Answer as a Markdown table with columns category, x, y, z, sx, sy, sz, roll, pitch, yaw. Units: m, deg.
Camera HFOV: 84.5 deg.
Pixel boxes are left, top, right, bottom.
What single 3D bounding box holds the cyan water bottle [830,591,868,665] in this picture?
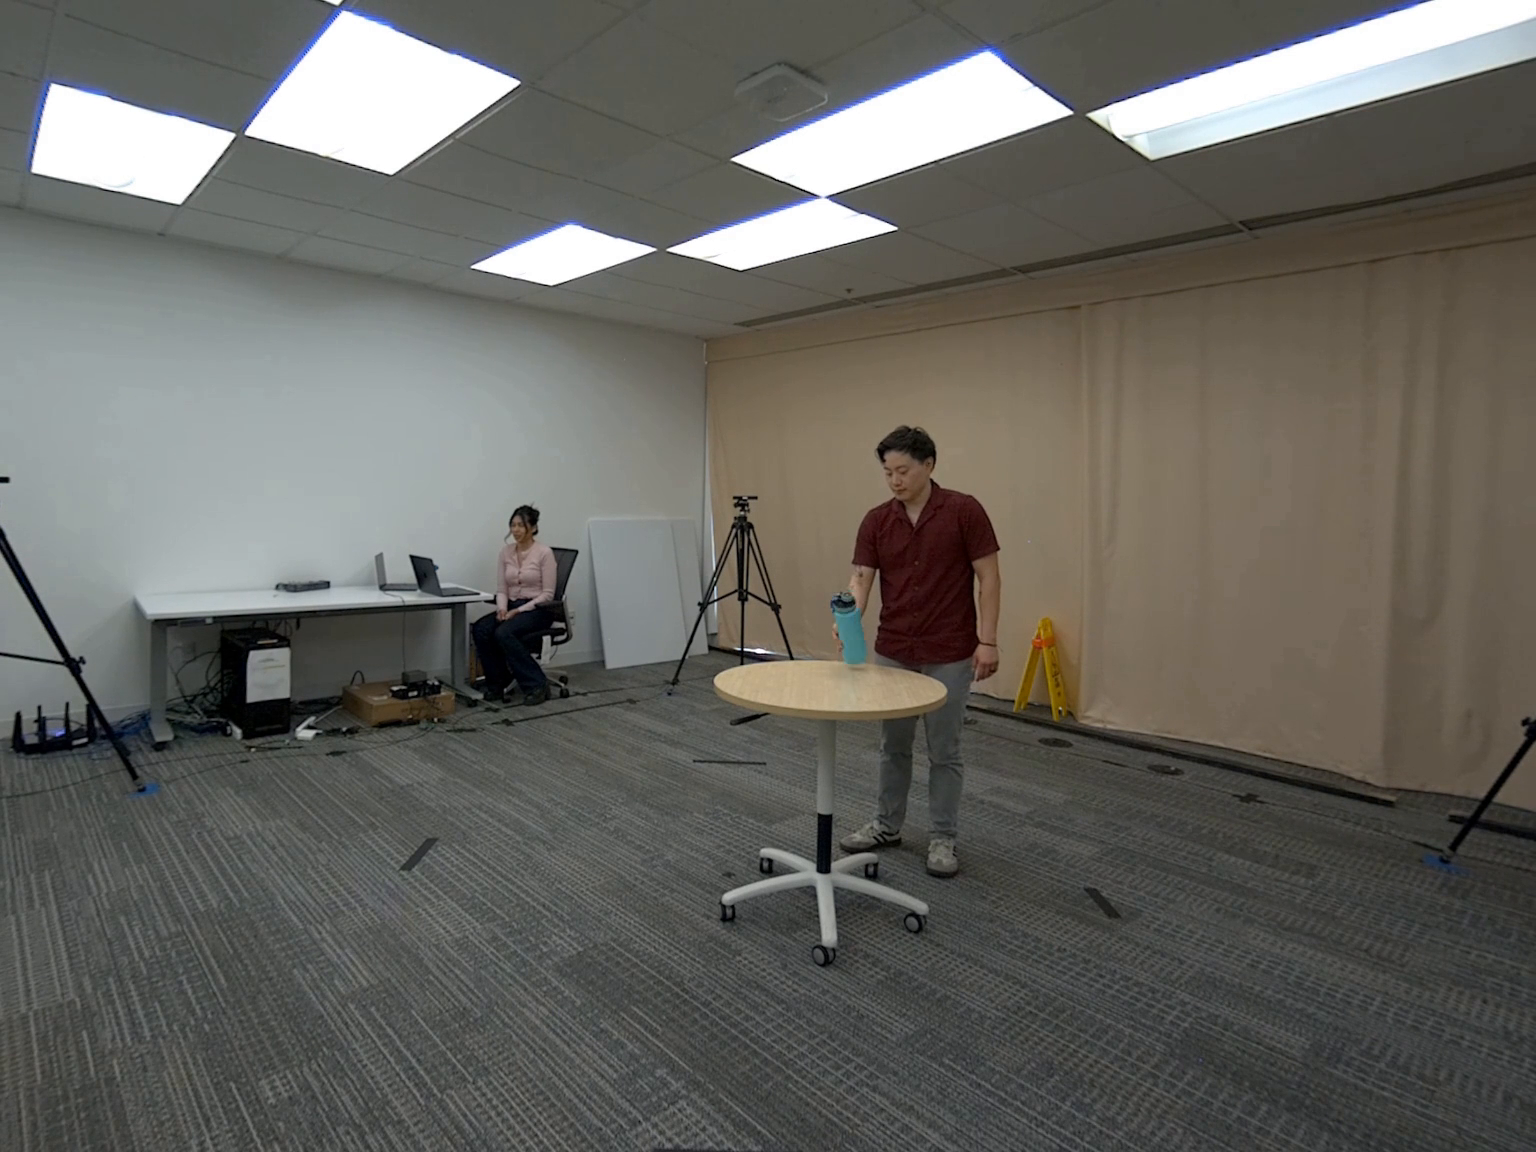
| category | x | y | z | sx | sy | sz | roll | pitch | yaw |
| --- | --- | --- | --- | --- | --- | --- | --- | --- | --- |
| cyan water bottle | 0.281 | 0.184 | 2.966 | 0.093 | 0.277 | 0.094 | -11 | 30 | 5 |
